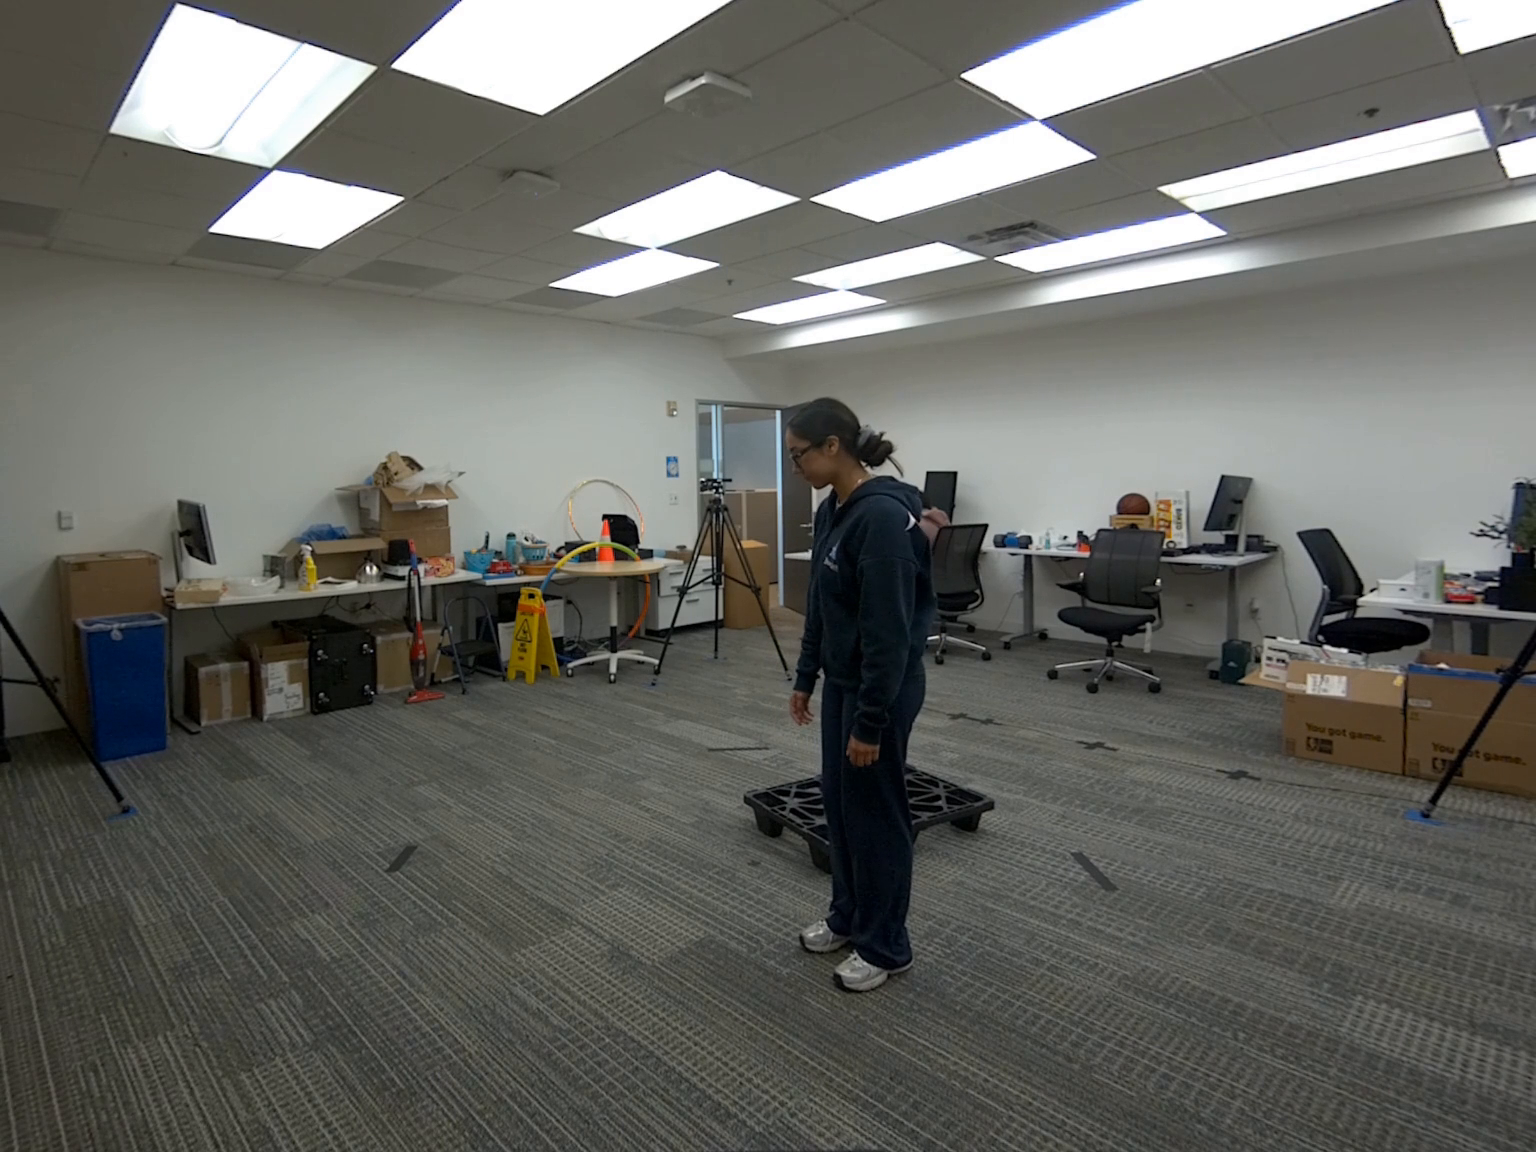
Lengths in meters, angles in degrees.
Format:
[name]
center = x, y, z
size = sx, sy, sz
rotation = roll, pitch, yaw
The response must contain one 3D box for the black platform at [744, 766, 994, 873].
[black platform]
center = 0.391, 0.938, 3.383
size = 0.786, 0.143, 0.622
rotation = -4, 6, -31
